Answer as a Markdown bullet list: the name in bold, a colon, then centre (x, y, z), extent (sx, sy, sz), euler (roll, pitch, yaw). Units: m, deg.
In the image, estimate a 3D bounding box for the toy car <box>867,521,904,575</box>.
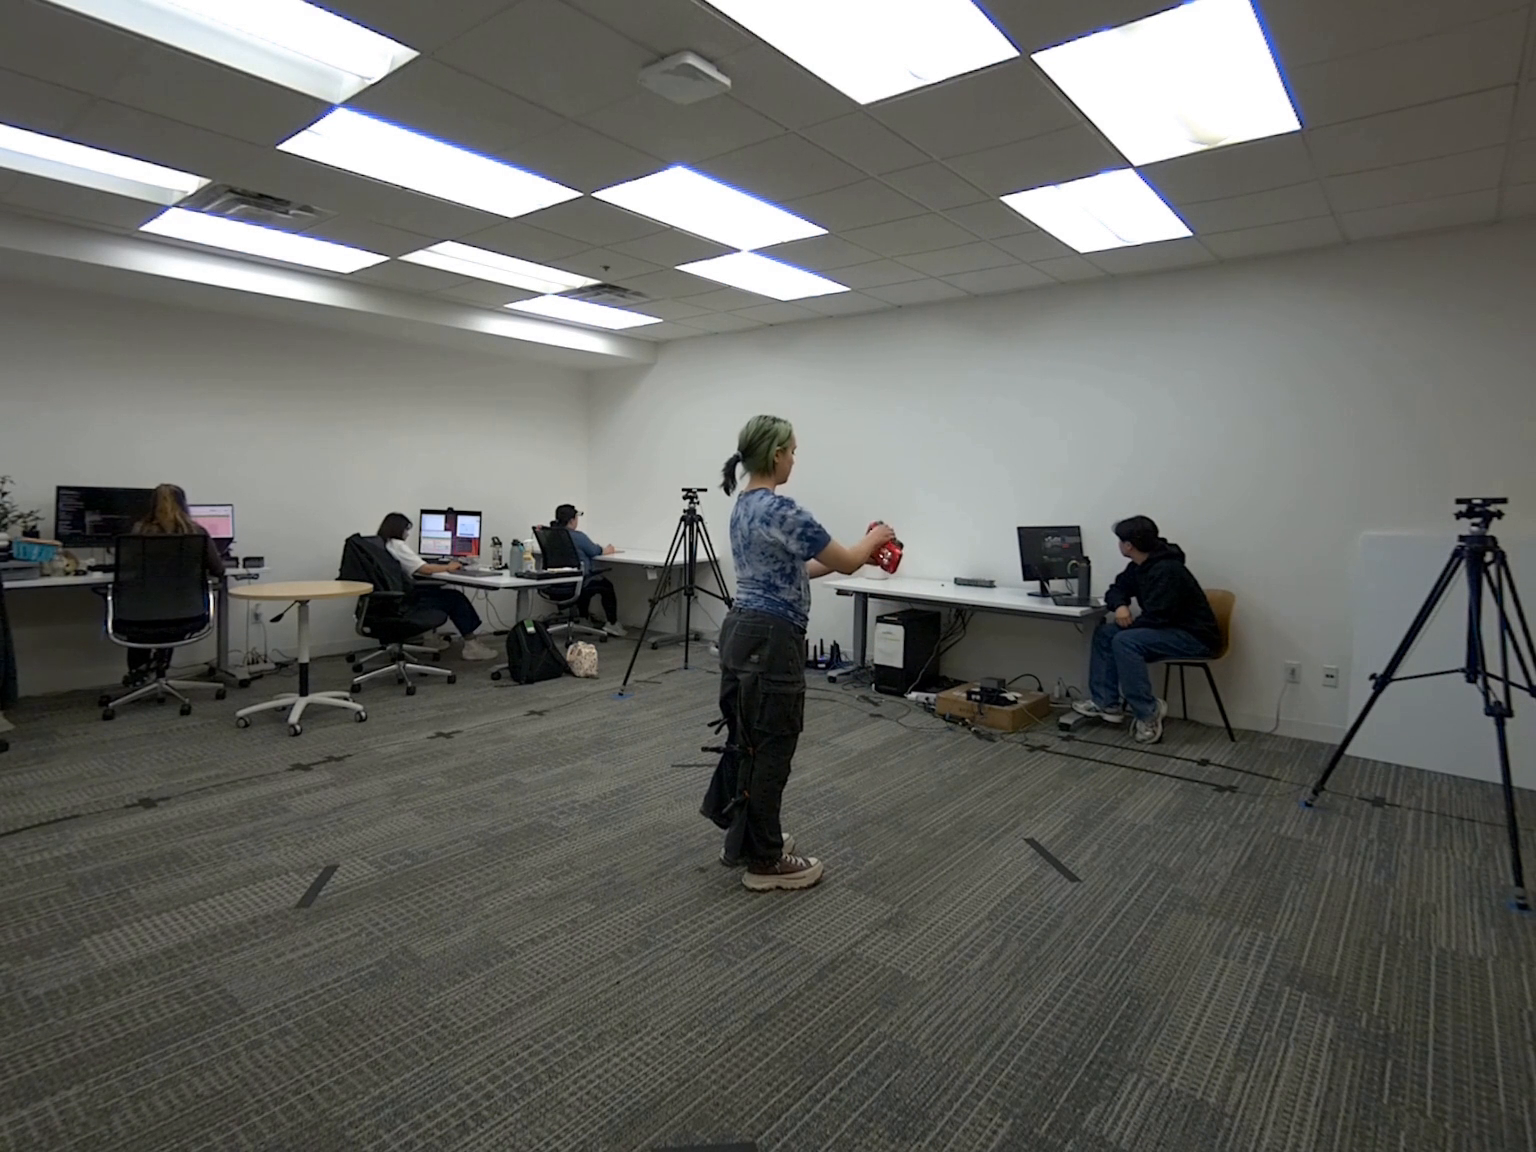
- **toy car**: centre (0.429, -0.100, 3.172), extent (0.082, 0.128, 0.263), euler (8, 29, -16)
